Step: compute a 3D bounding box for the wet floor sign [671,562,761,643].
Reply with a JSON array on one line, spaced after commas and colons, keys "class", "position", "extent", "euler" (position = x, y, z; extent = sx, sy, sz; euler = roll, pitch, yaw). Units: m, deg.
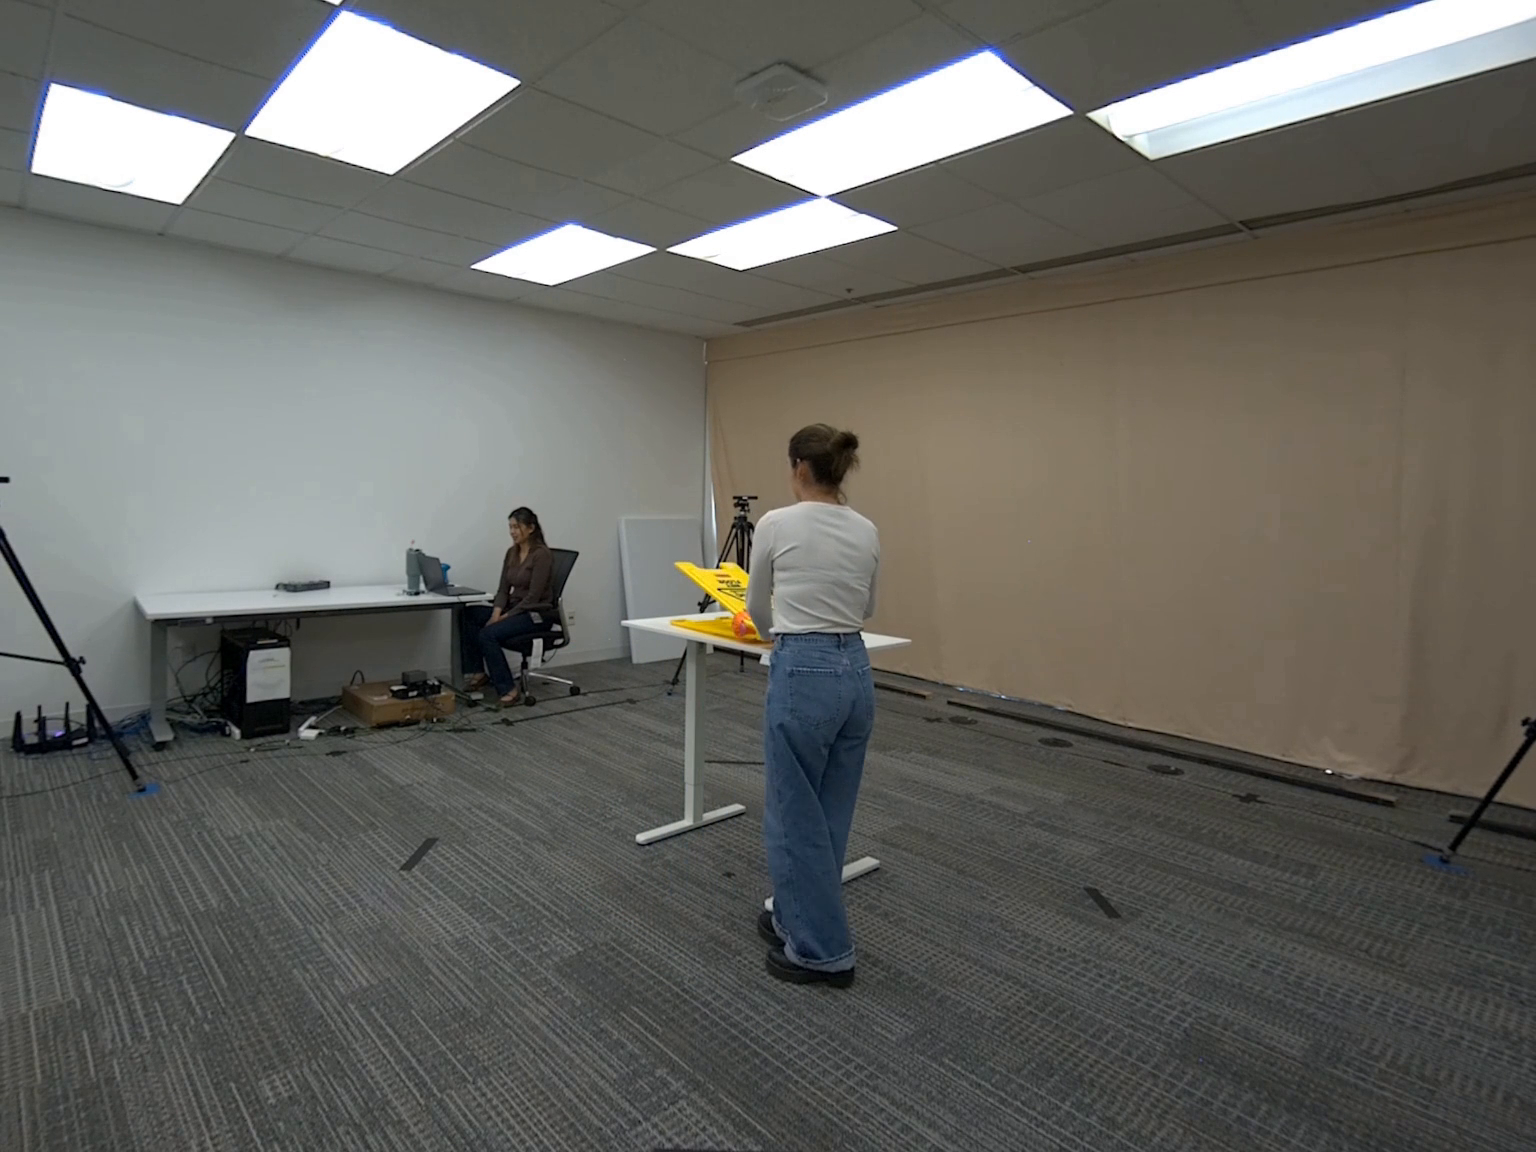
[{"class": "wet floor sign", "position": [-0.112, 0.146, 3.124], "extent": [0.277, 0.288, 0.663], "euler": [0, 12, -29]}]
